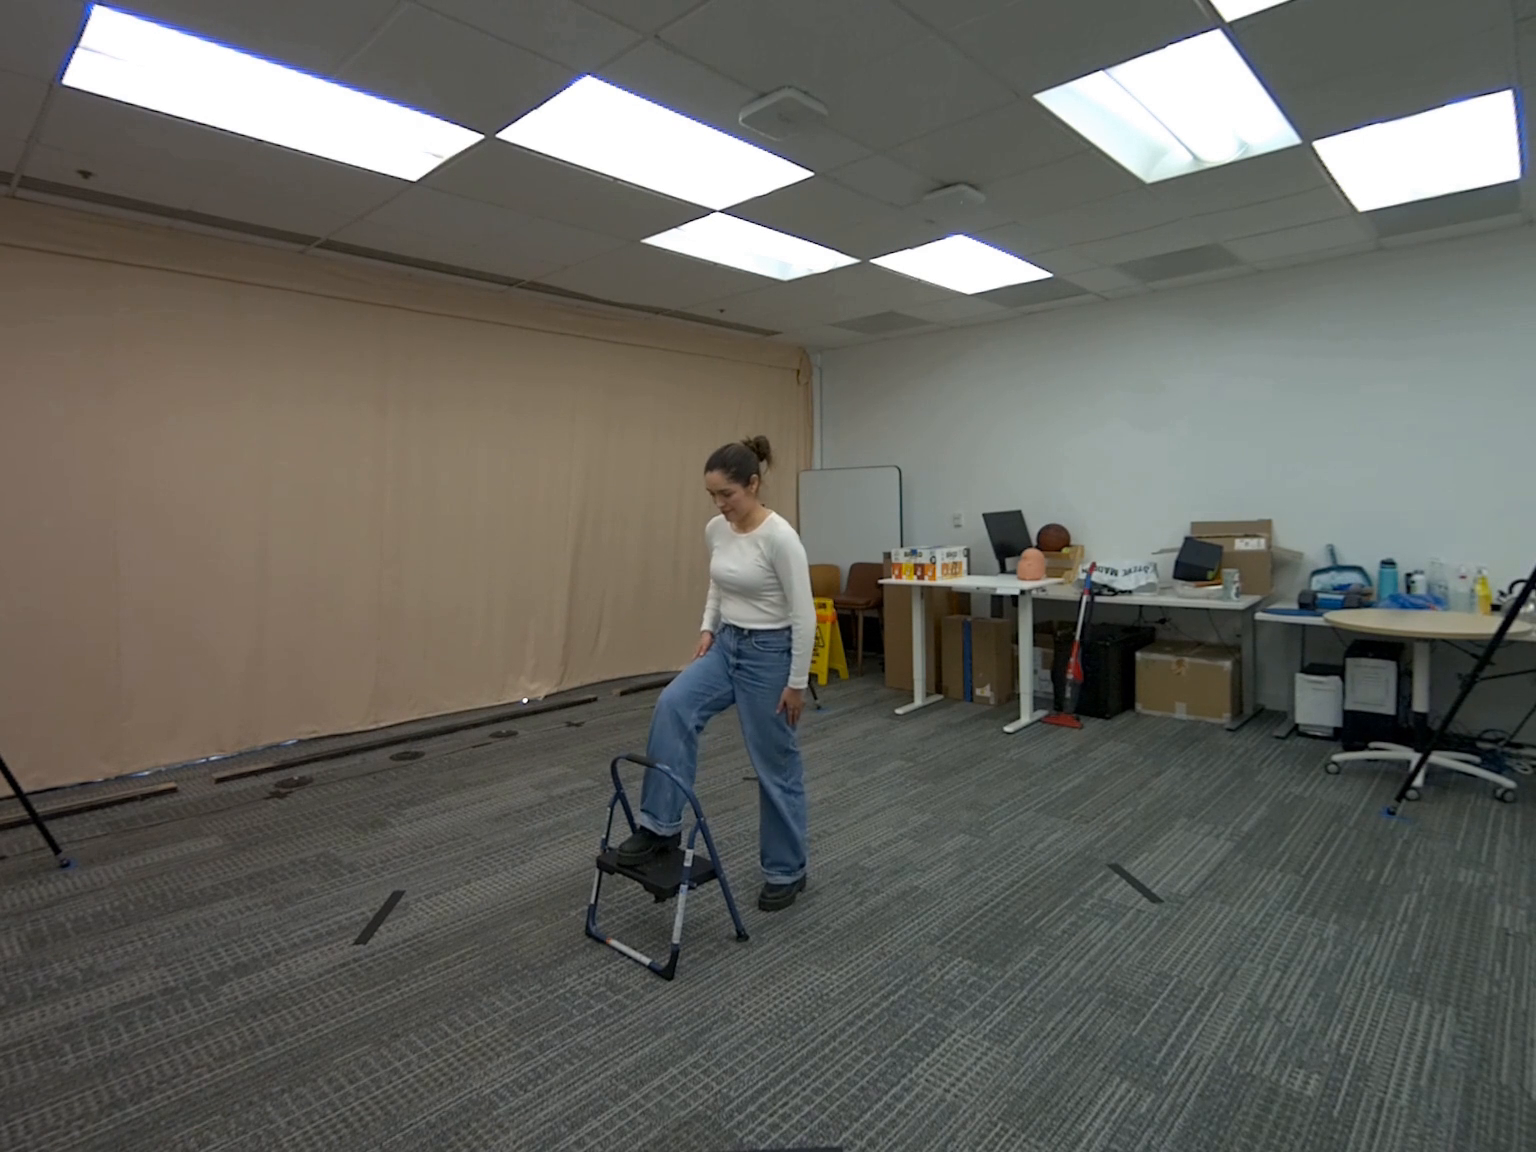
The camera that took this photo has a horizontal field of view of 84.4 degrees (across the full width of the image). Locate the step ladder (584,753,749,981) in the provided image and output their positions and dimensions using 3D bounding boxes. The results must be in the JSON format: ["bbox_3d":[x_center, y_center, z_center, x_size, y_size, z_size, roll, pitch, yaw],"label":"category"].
[{"bbox_3d":[-0.335,0.867,2.714,0.445,0.605,0.339,2,4,42],"label":"step ladder"}]
